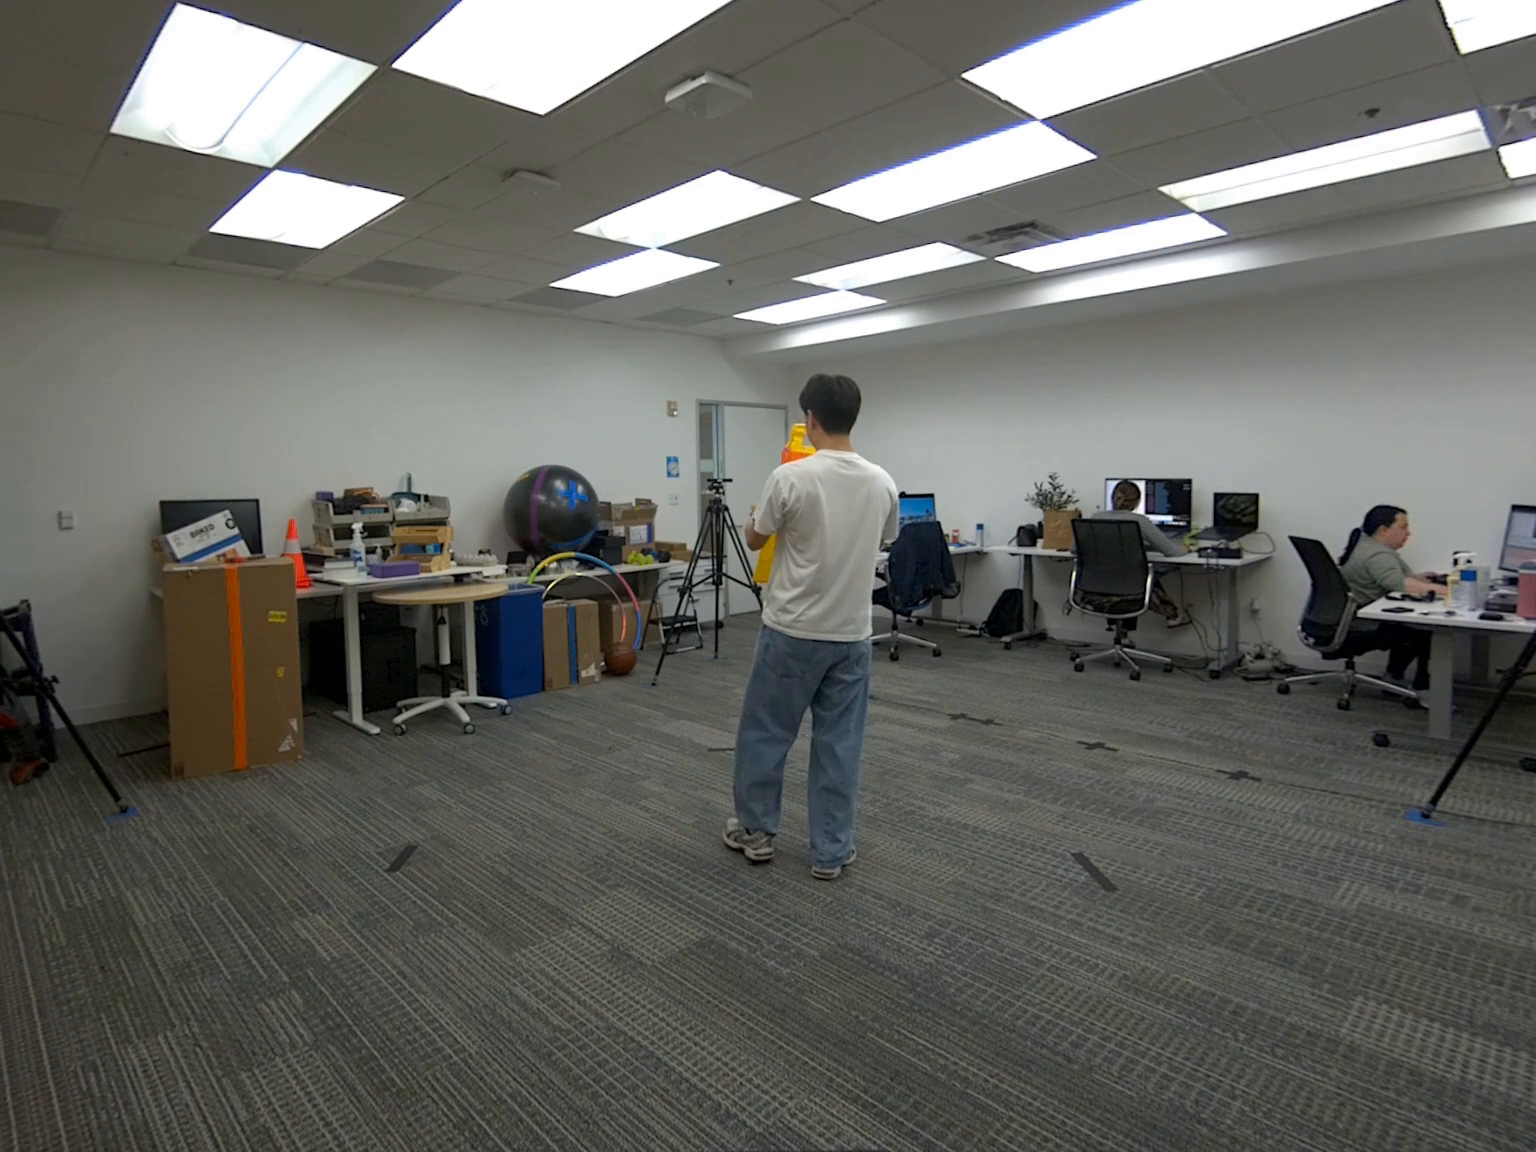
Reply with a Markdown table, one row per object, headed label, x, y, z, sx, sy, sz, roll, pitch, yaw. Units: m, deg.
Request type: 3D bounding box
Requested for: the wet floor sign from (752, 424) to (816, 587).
| label | x | y | z | sx | sy | sz | roll | pitch | yaw |
| --- | --- | --- | --- | --- | --- | --- | --- | --- | --- |
| wet floor sign | 0.158 | -0.274 | 3.437 | 0.274 | 0.645 | 0.298 | 4 | 3 | -33 |
